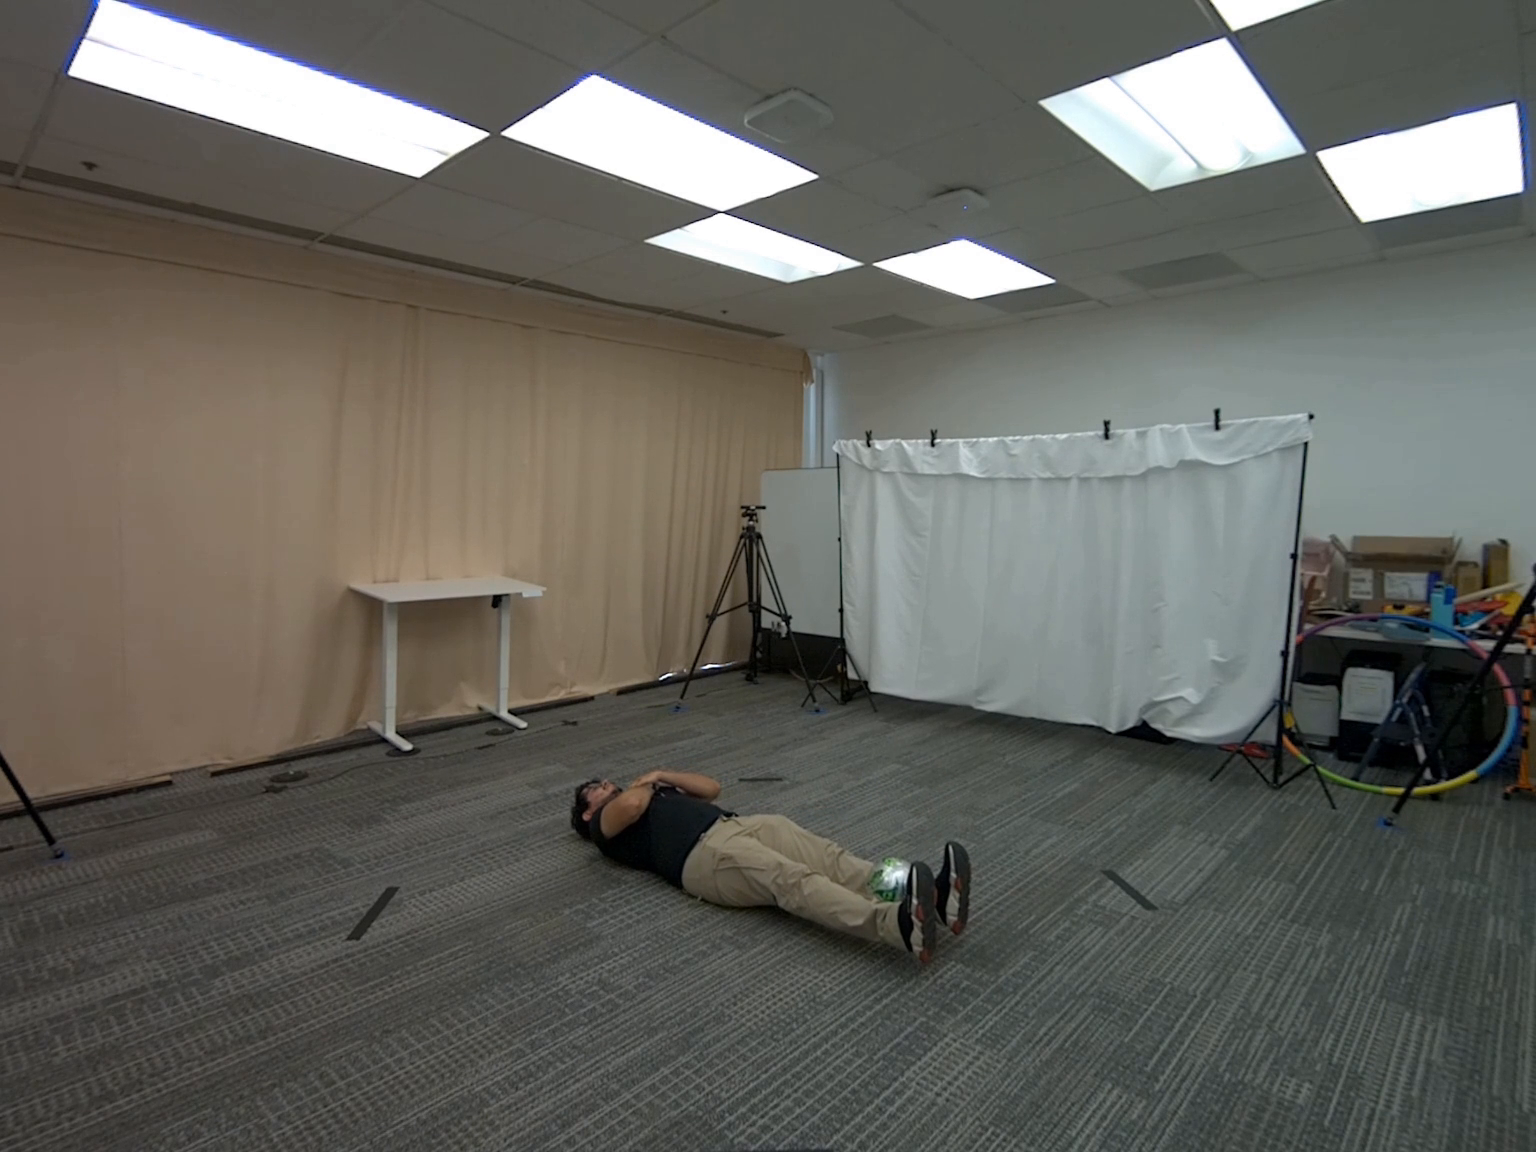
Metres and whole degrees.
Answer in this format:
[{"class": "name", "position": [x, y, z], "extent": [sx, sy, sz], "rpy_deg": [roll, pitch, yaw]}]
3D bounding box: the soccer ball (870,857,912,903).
[{"class": "soccer ball", "position": [0.414, 0.995, 2.646], "extent": [0.187, 0.187, 0.188], "rpy_deg": [0, 4, -2]}]
